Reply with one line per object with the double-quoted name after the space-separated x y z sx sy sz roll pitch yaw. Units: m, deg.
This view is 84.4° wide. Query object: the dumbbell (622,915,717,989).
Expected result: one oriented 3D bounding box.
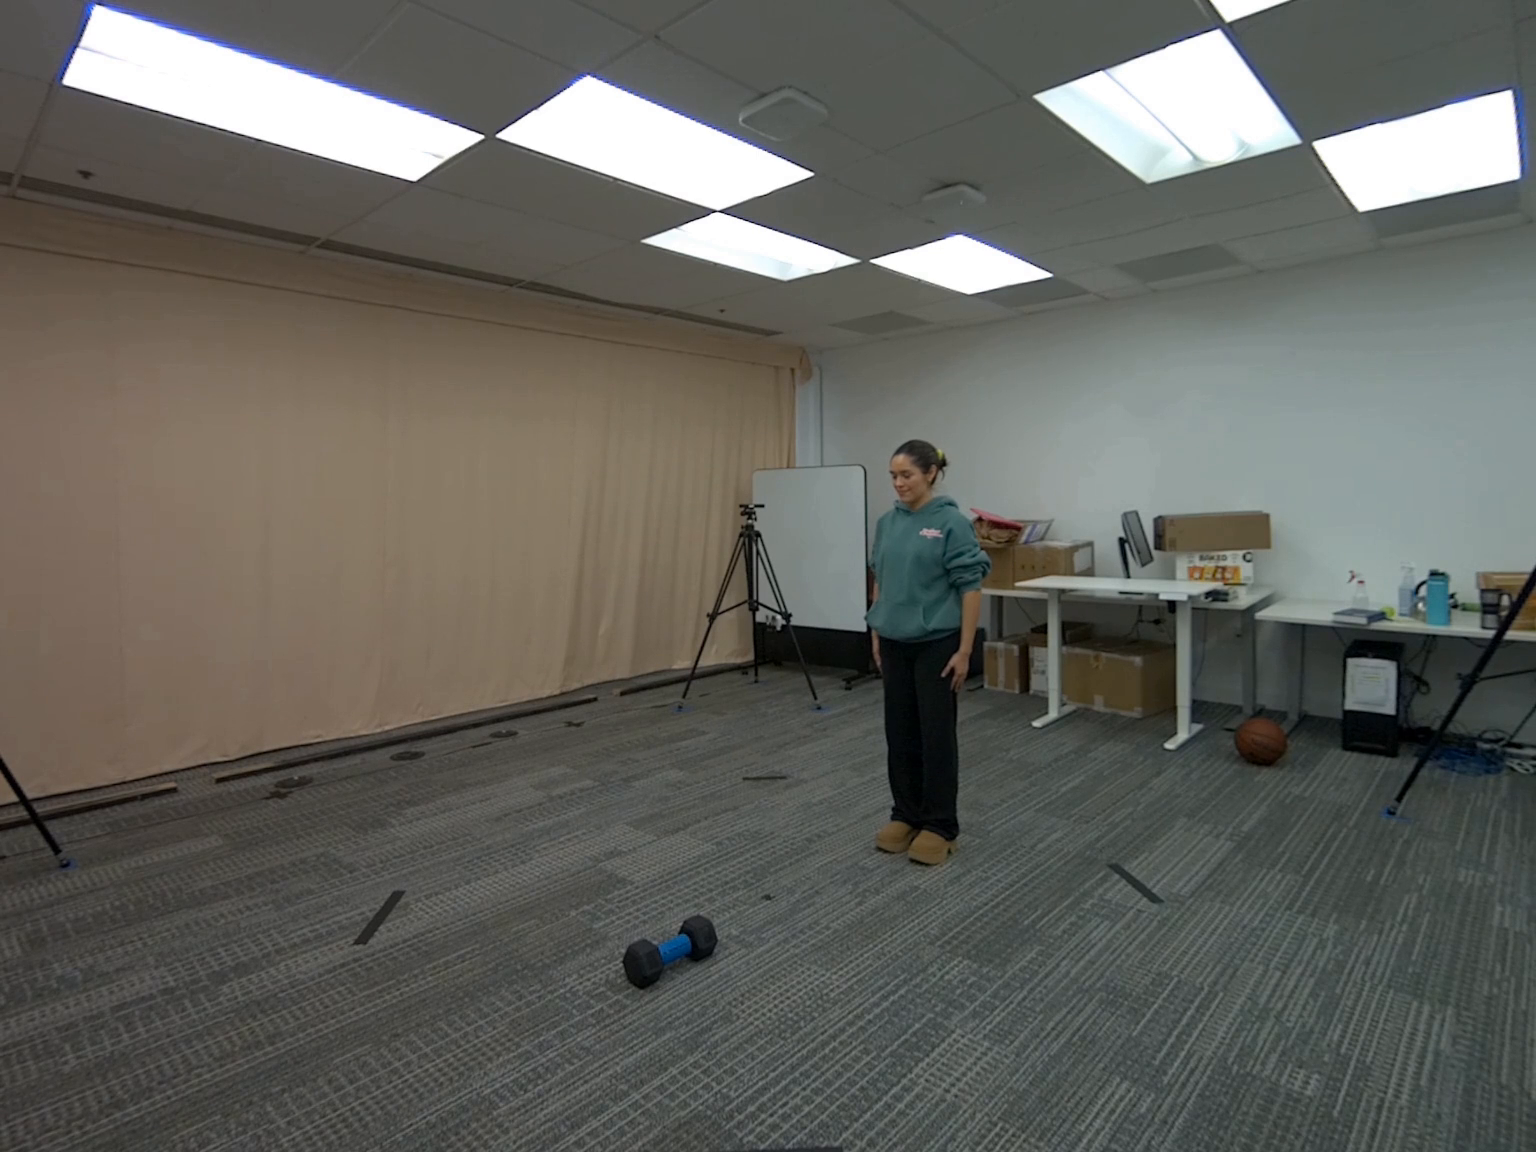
-0.291 1.131 2.533 0.285 0.122 0.112 -5 35 -43 "dumbbell"
